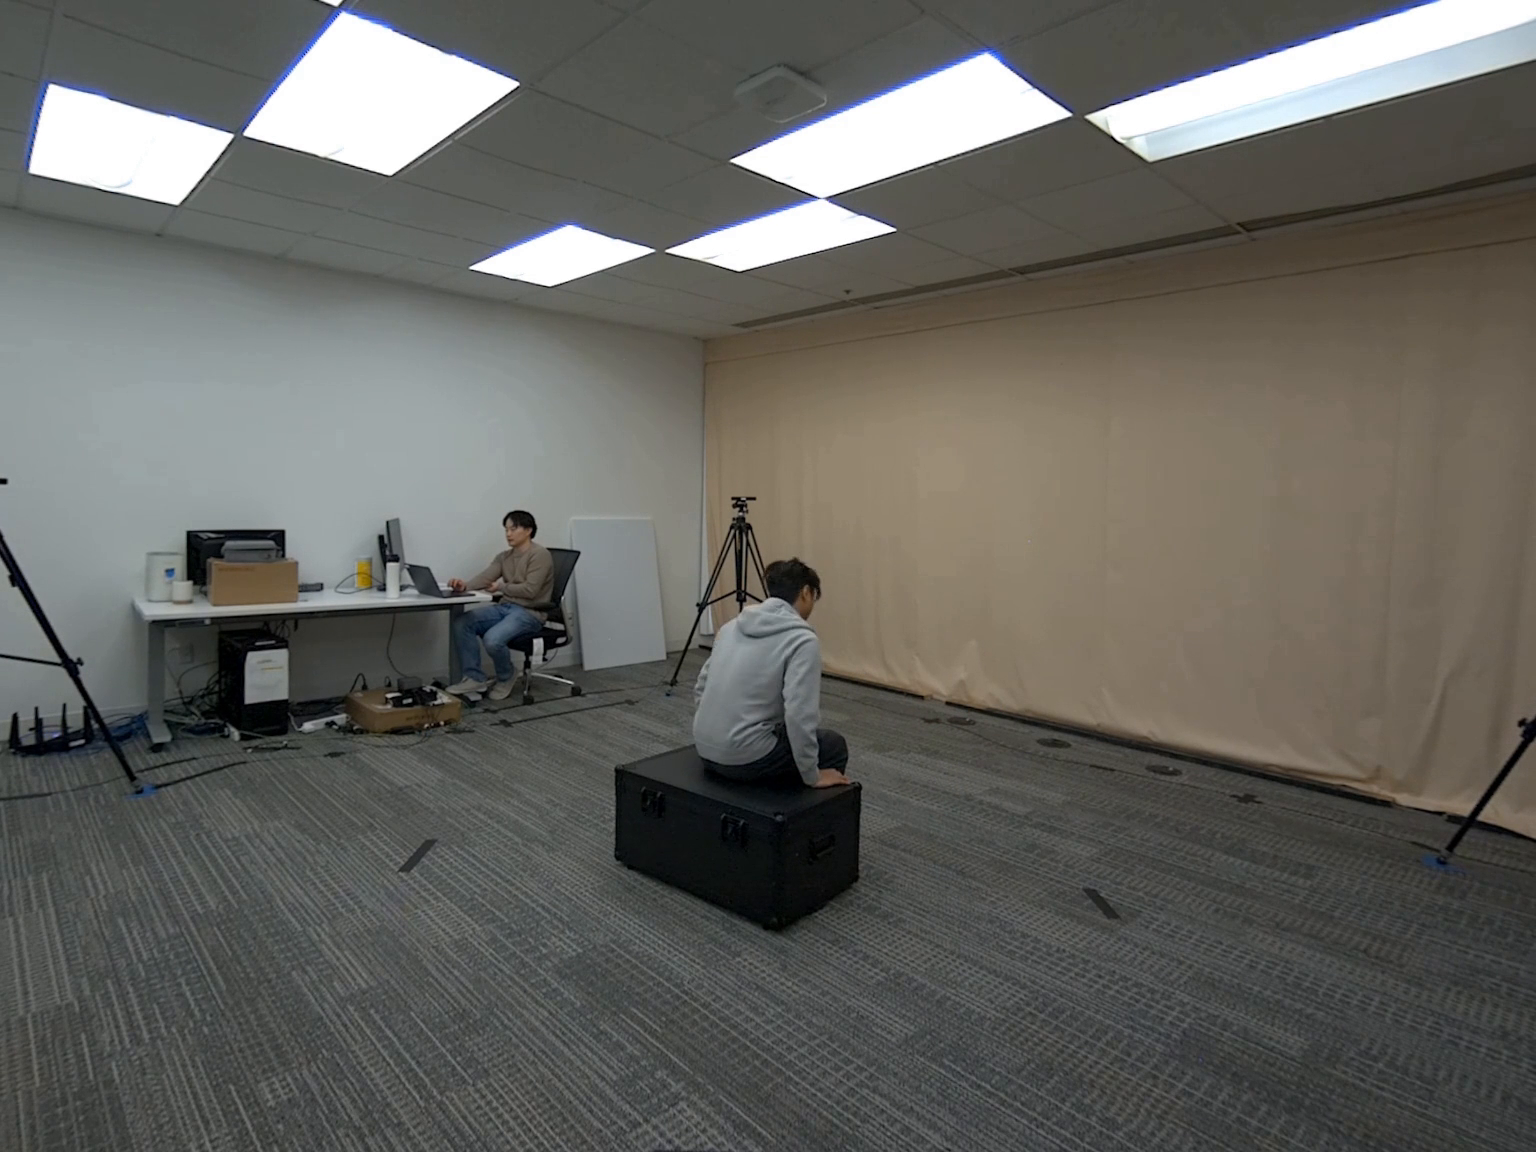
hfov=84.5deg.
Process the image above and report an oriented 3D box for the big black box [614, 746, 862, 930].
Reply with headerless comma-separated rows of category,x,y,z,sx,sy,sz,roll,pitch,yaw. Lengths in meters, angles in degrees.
big black box,-0.110,0.925,3.070,0.883,0.395,0.509,5,5,39
